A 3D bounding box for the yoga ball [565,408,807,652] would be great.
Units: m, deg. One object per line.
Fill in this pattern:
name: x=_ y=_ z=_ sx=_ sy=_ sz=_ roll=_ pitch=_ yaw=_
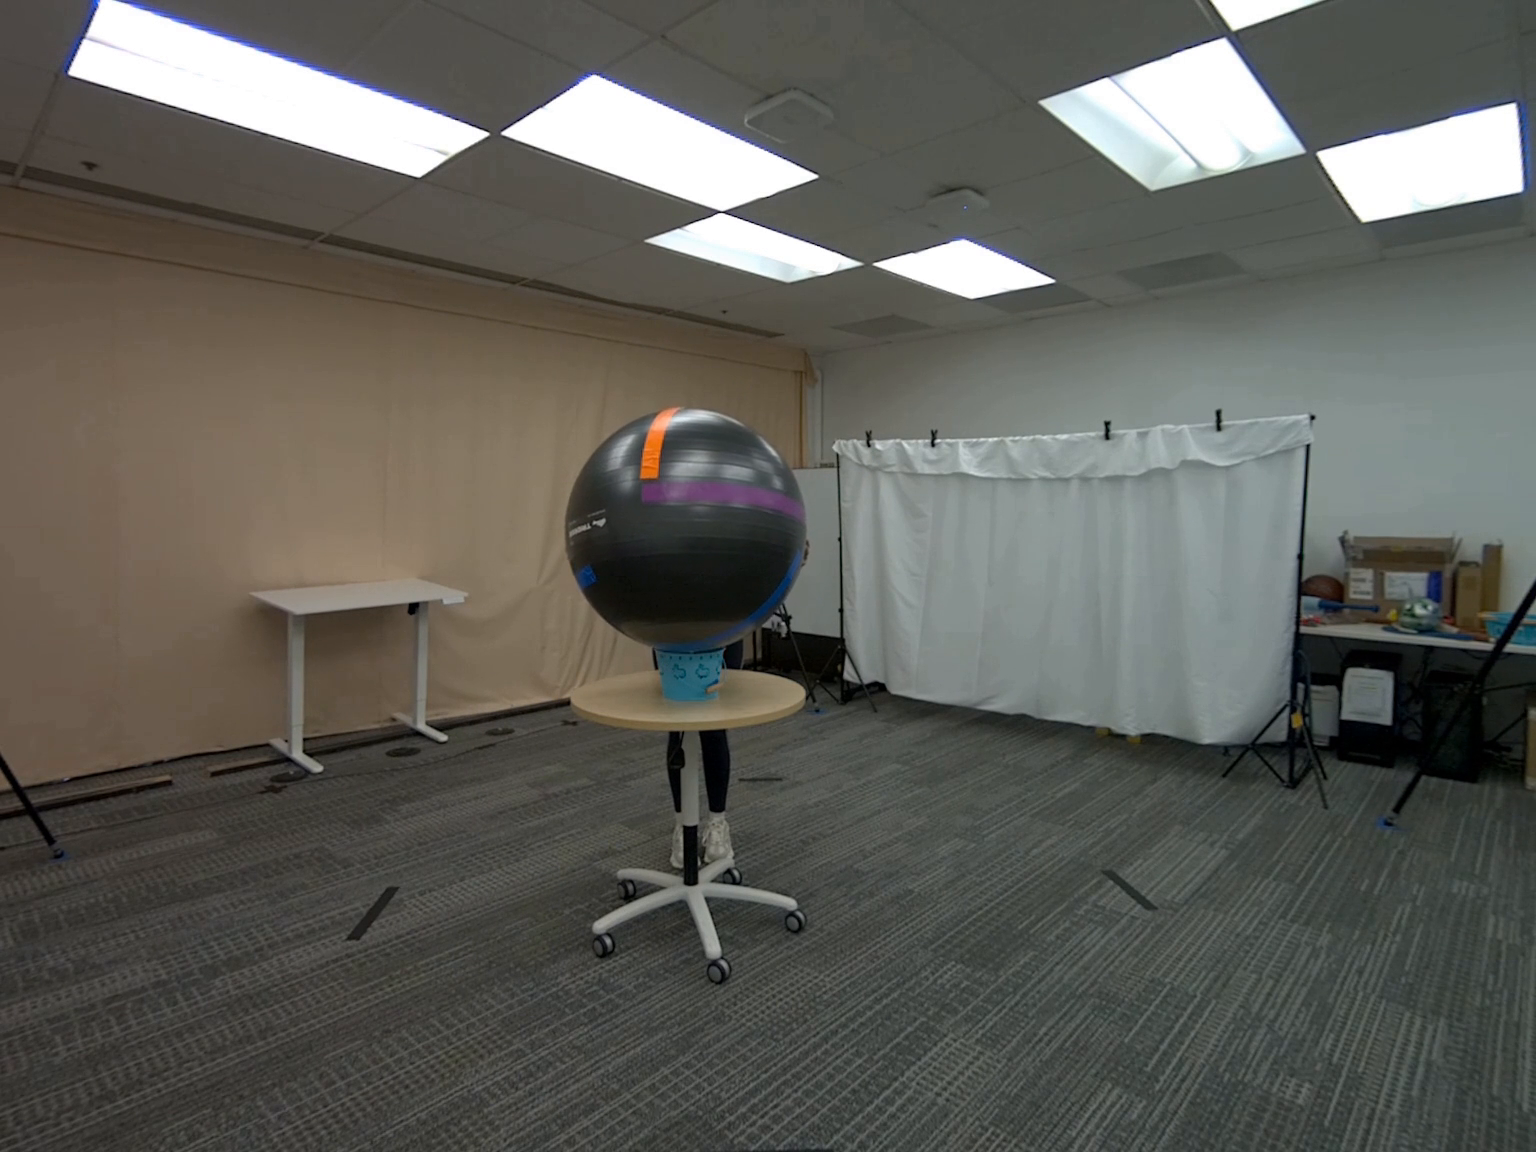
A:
yoga ball: x=-0.260 y=-0.139 z=2.630 sx=0.757 sy=0.756 sz=0.761 roll=0 pitch=4 yaw=-2
